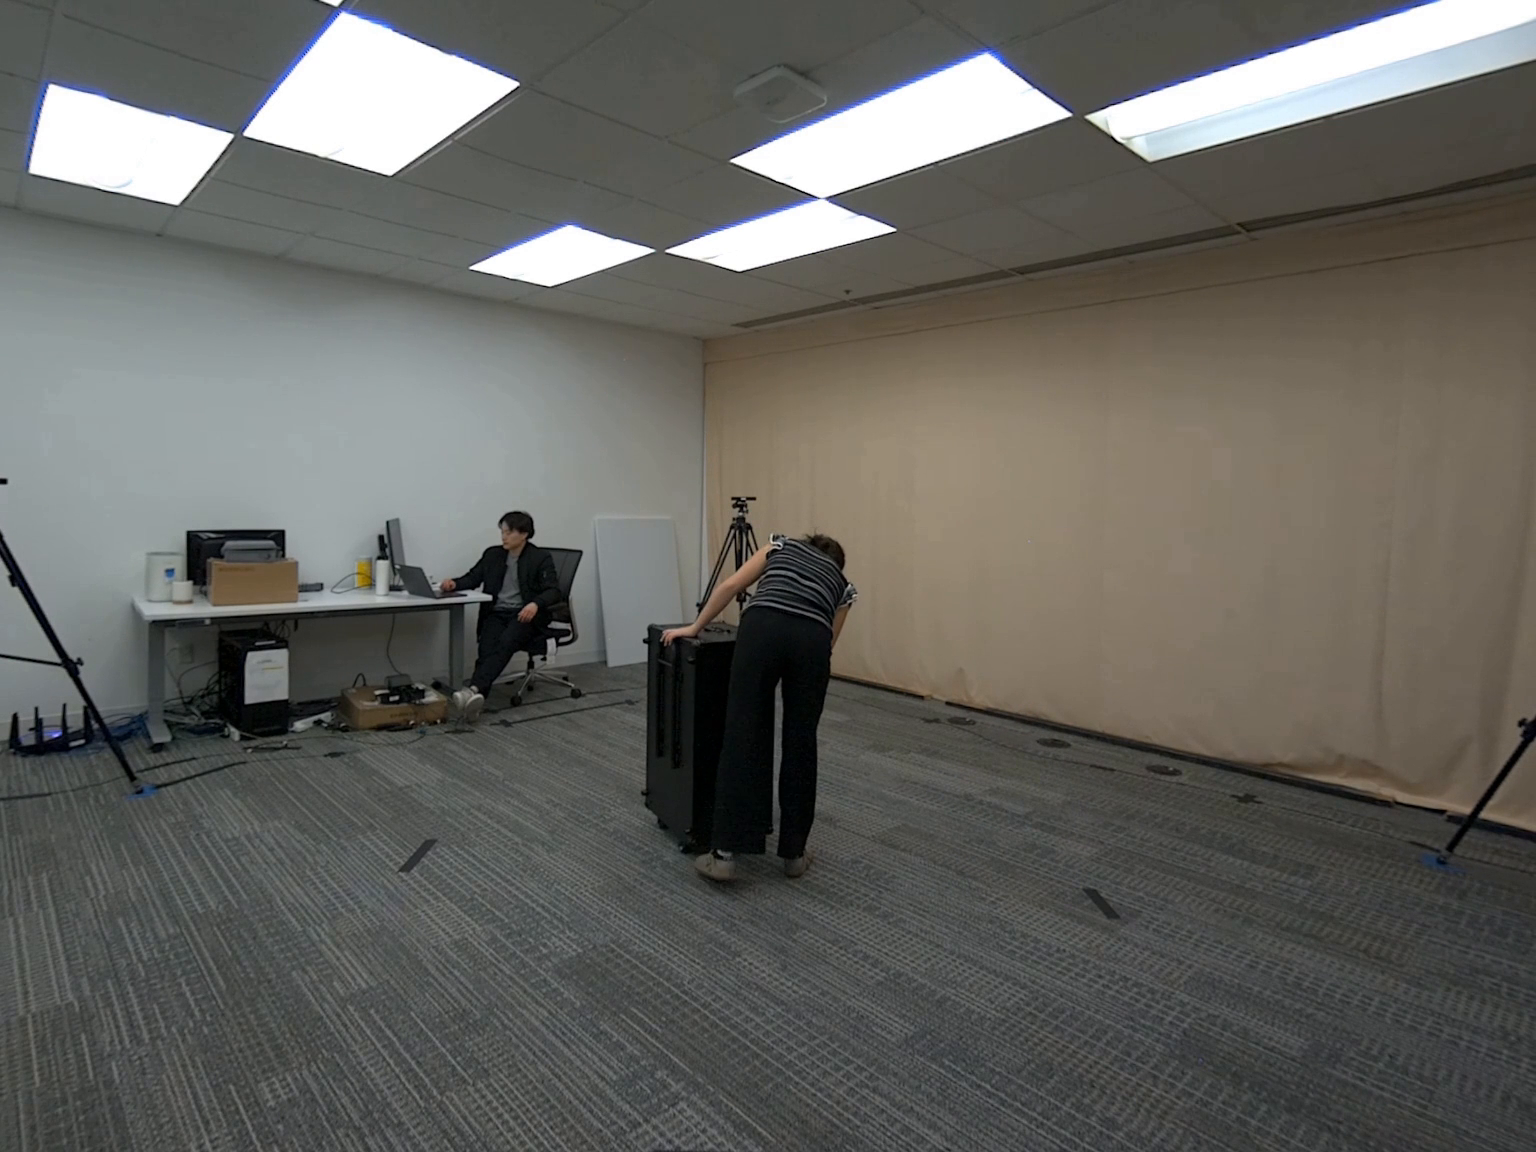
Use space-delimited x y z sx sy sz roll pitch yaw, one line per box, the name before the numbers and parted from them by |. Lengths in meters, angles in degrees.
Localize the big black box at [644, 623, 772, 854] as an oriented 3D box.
big black box | -0.262 0.652 3.440 0.389 0.859 0.532 -1 4 -28
